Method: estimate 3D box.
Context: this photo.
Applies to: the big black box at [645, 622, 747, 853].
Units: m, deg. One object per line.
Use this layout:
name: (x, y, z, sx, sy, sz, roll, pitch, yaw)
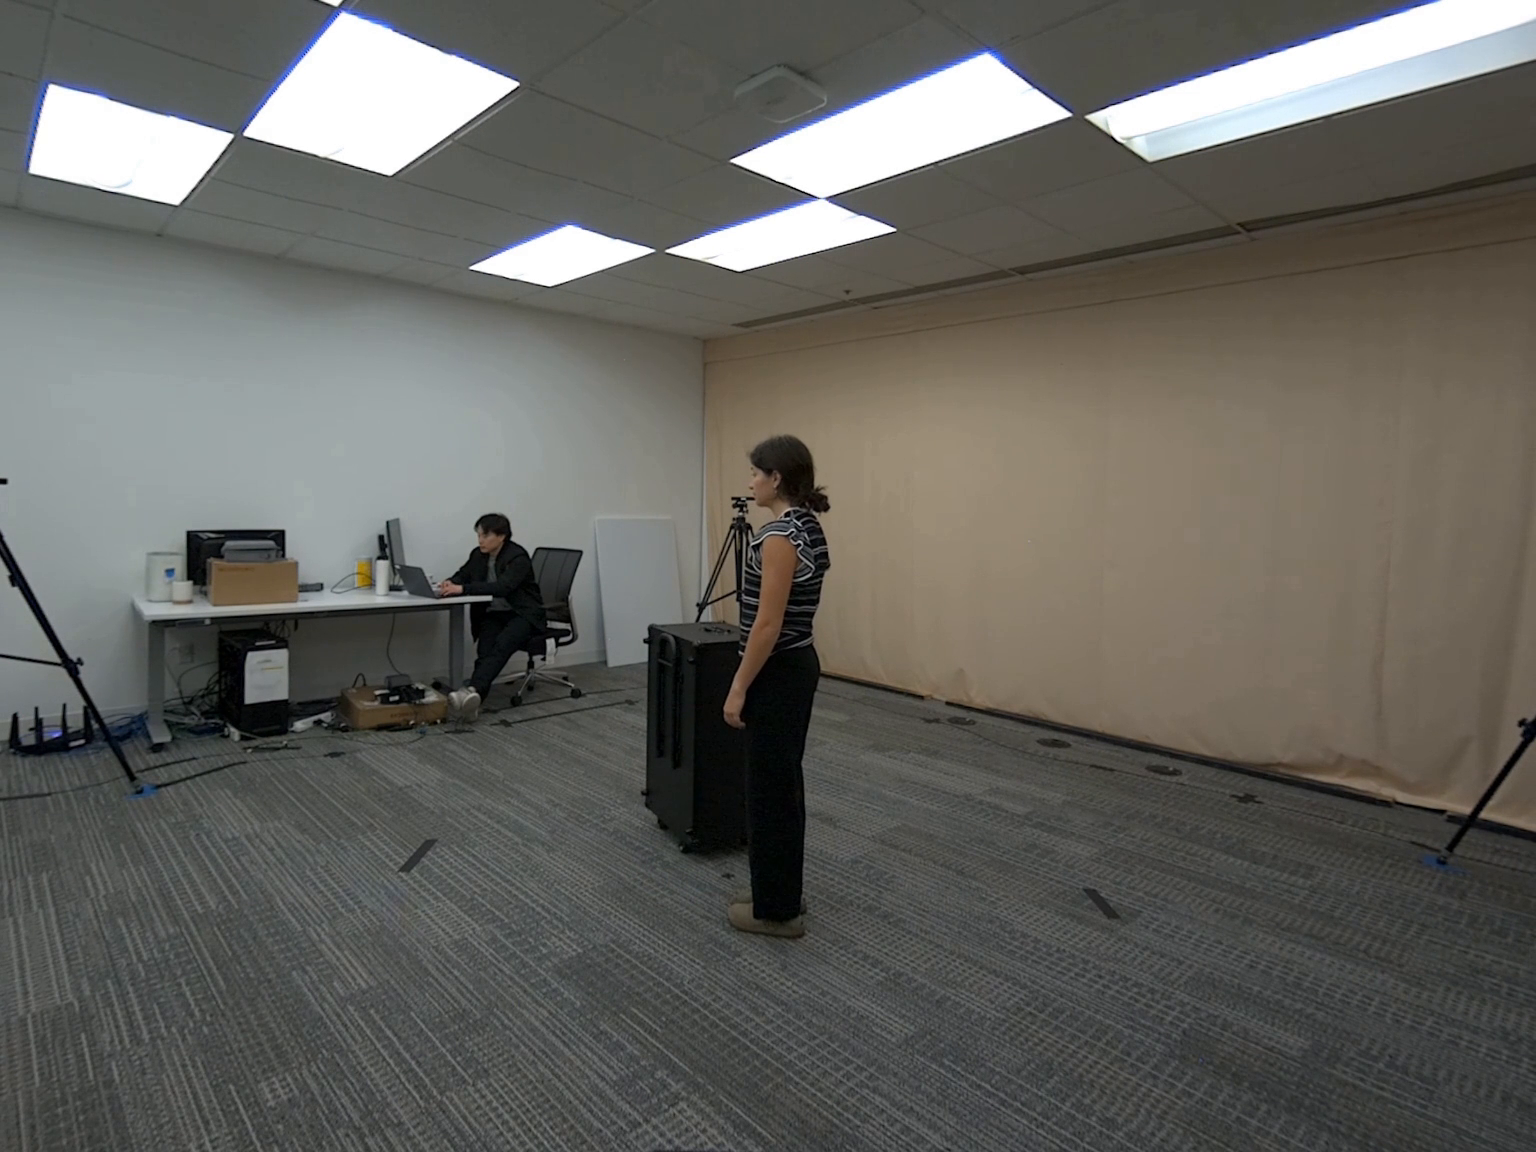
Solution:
big black box: (-0.257, 0.650, 3.435, 0.389, 0.859, 0.533, -1, 4, -28)
